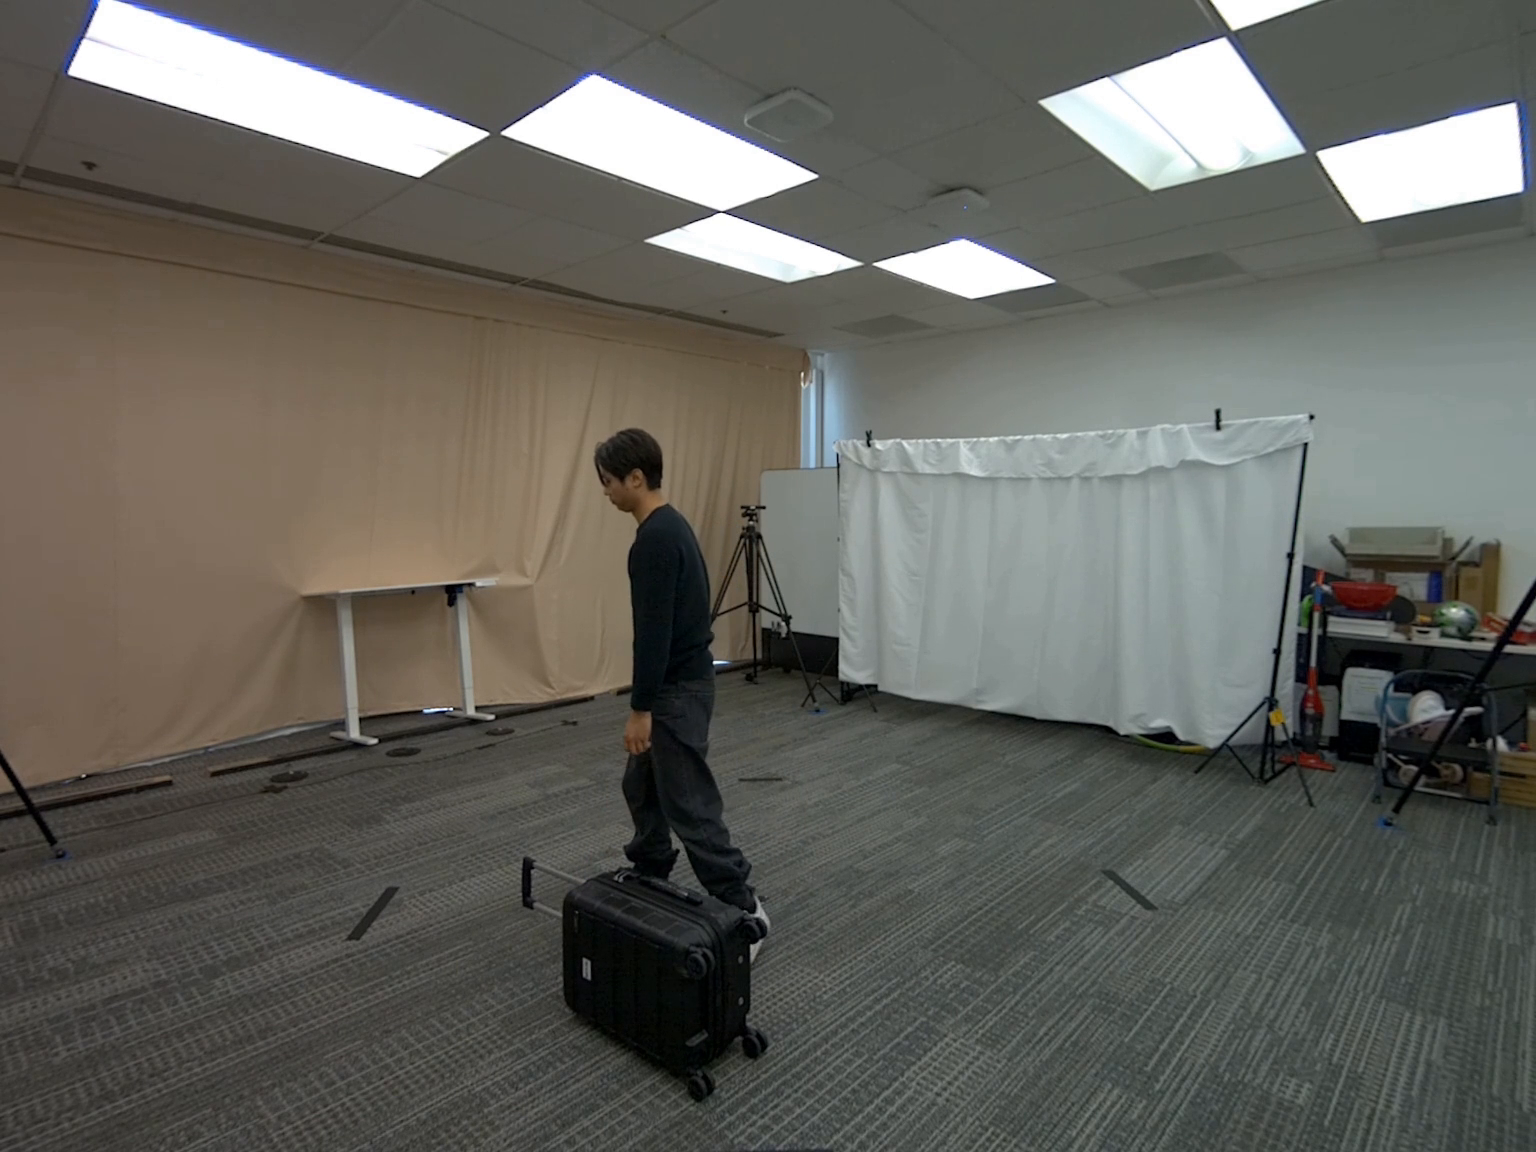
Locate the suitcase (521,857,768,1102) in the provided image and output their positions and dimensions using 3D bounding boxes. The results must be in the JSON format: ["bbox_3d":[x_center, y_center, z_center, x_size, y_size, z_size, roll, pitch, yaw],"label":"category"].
[{"bbox_3d":[-0.456,1.010,2.349,1.010,0.383,0.249,3,3,38],"label":"suitcase"}]
